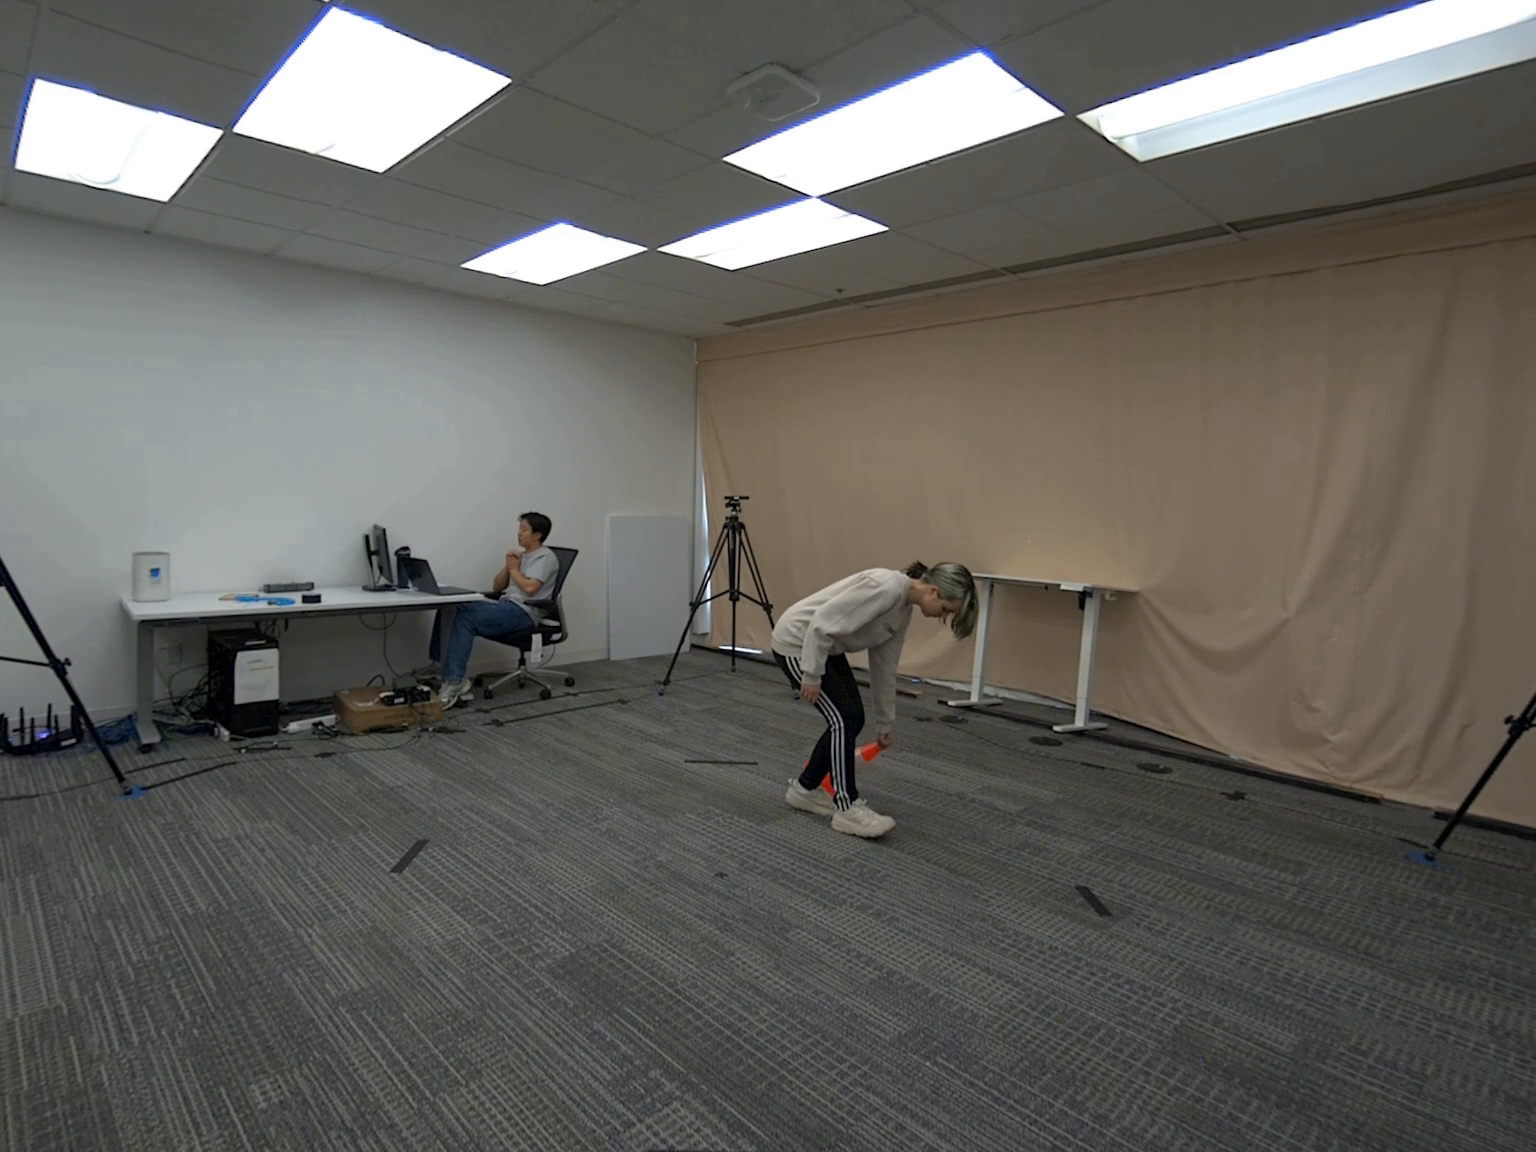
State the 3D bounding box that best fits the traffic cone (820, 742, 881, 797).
[{"bbox_3d":[0.397,0.862,3.902,0.386,0.206,0.201,-35,-15,29],"label":"traffic cone"}]
